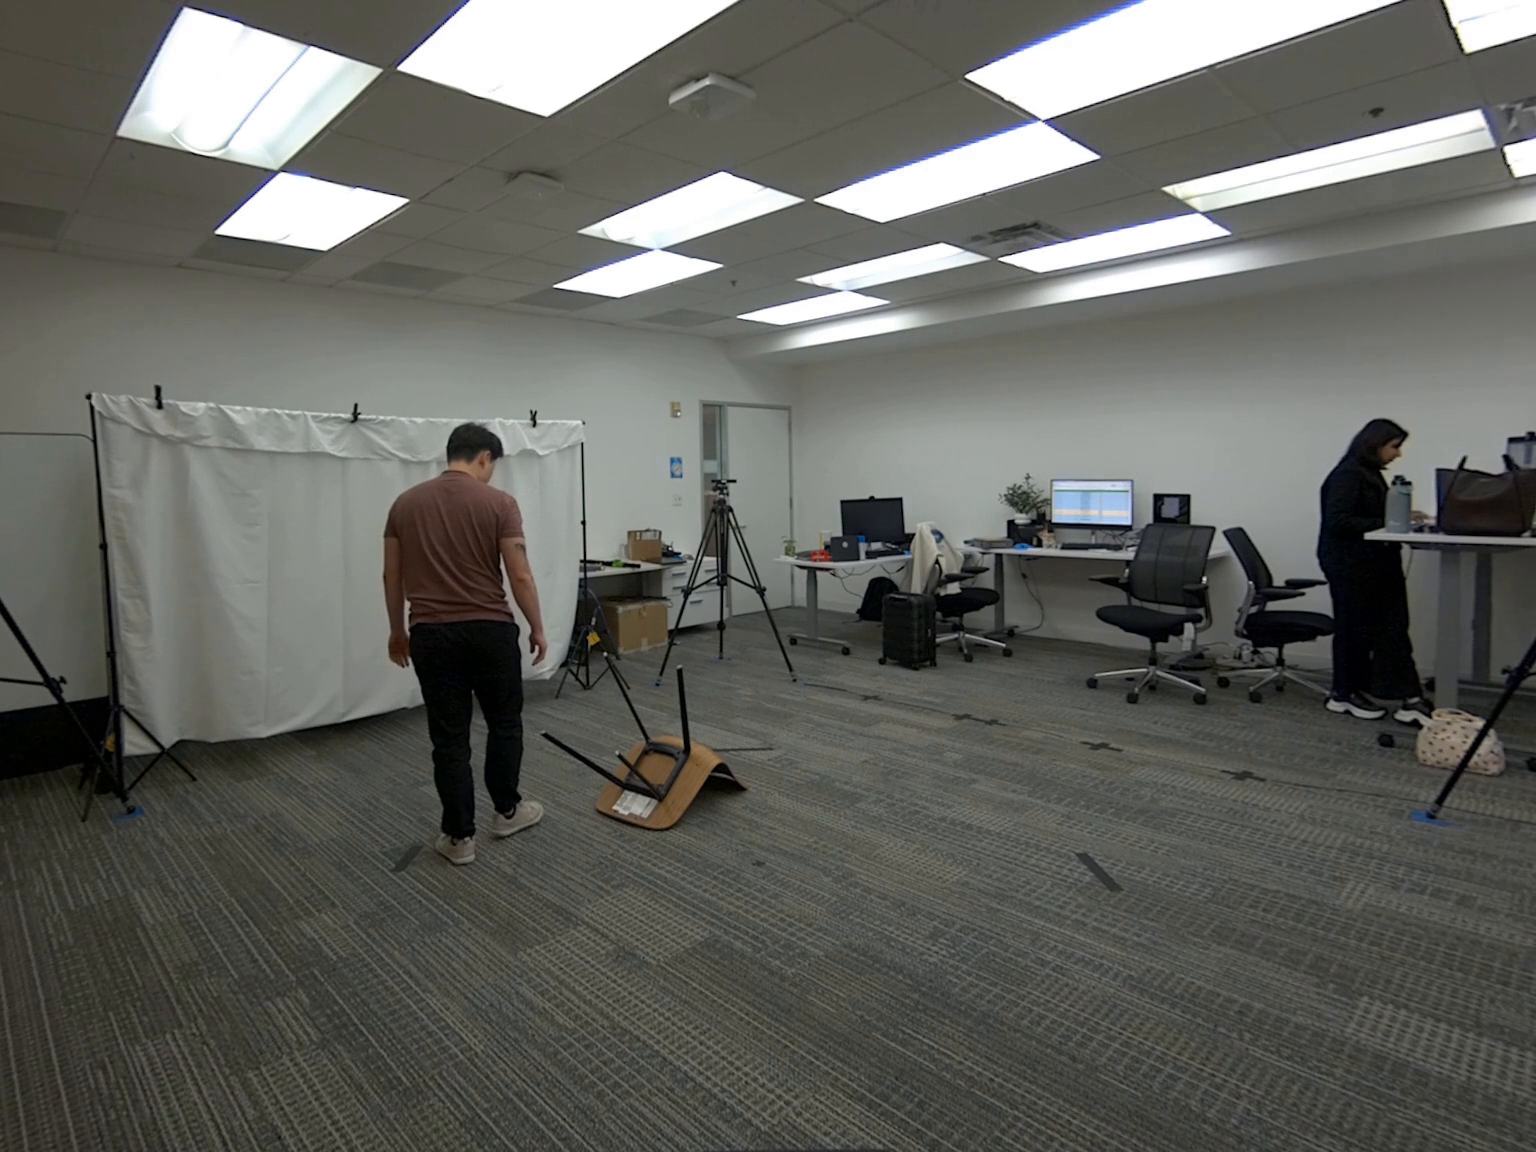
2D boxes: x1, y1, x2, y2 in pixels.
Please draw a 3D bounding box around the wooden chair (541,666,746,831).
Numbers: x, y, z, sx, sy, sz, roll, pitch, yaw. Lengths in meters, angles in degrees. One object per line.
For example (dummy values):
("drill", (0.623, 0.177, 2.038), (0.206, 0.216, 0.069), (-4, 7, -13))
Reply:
("wooden chair", (-0.485, 0.825, 3.652), (0.492, 0.847, 0.526), (2, 45, 37))
